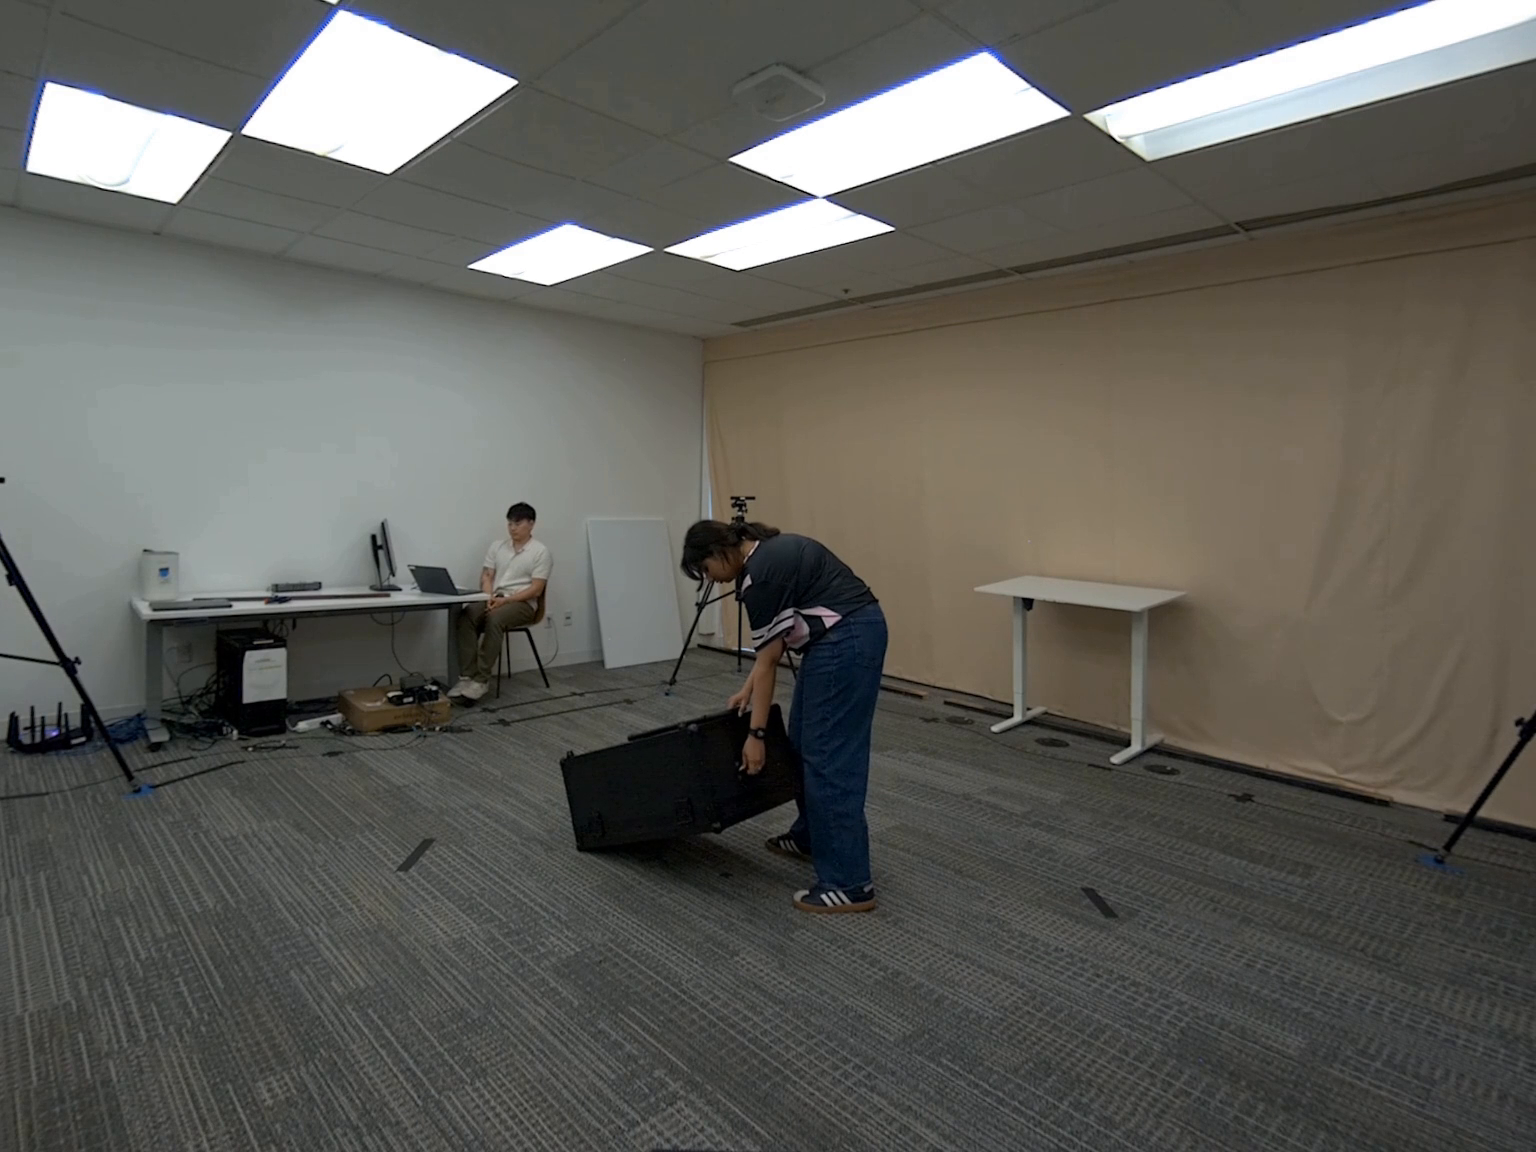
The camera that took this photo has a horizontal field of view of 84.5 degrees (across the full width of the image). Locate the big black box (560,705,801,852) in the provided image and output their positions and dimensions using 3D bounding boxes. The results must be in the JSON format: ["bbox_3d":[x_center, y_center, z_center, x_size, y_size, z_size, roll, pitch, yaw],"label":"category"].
[{"bbox_3d":[-0.391,0.792,3.270,0.880,0.388,0.512,-22,-10,39],"label":"big black box"}]
